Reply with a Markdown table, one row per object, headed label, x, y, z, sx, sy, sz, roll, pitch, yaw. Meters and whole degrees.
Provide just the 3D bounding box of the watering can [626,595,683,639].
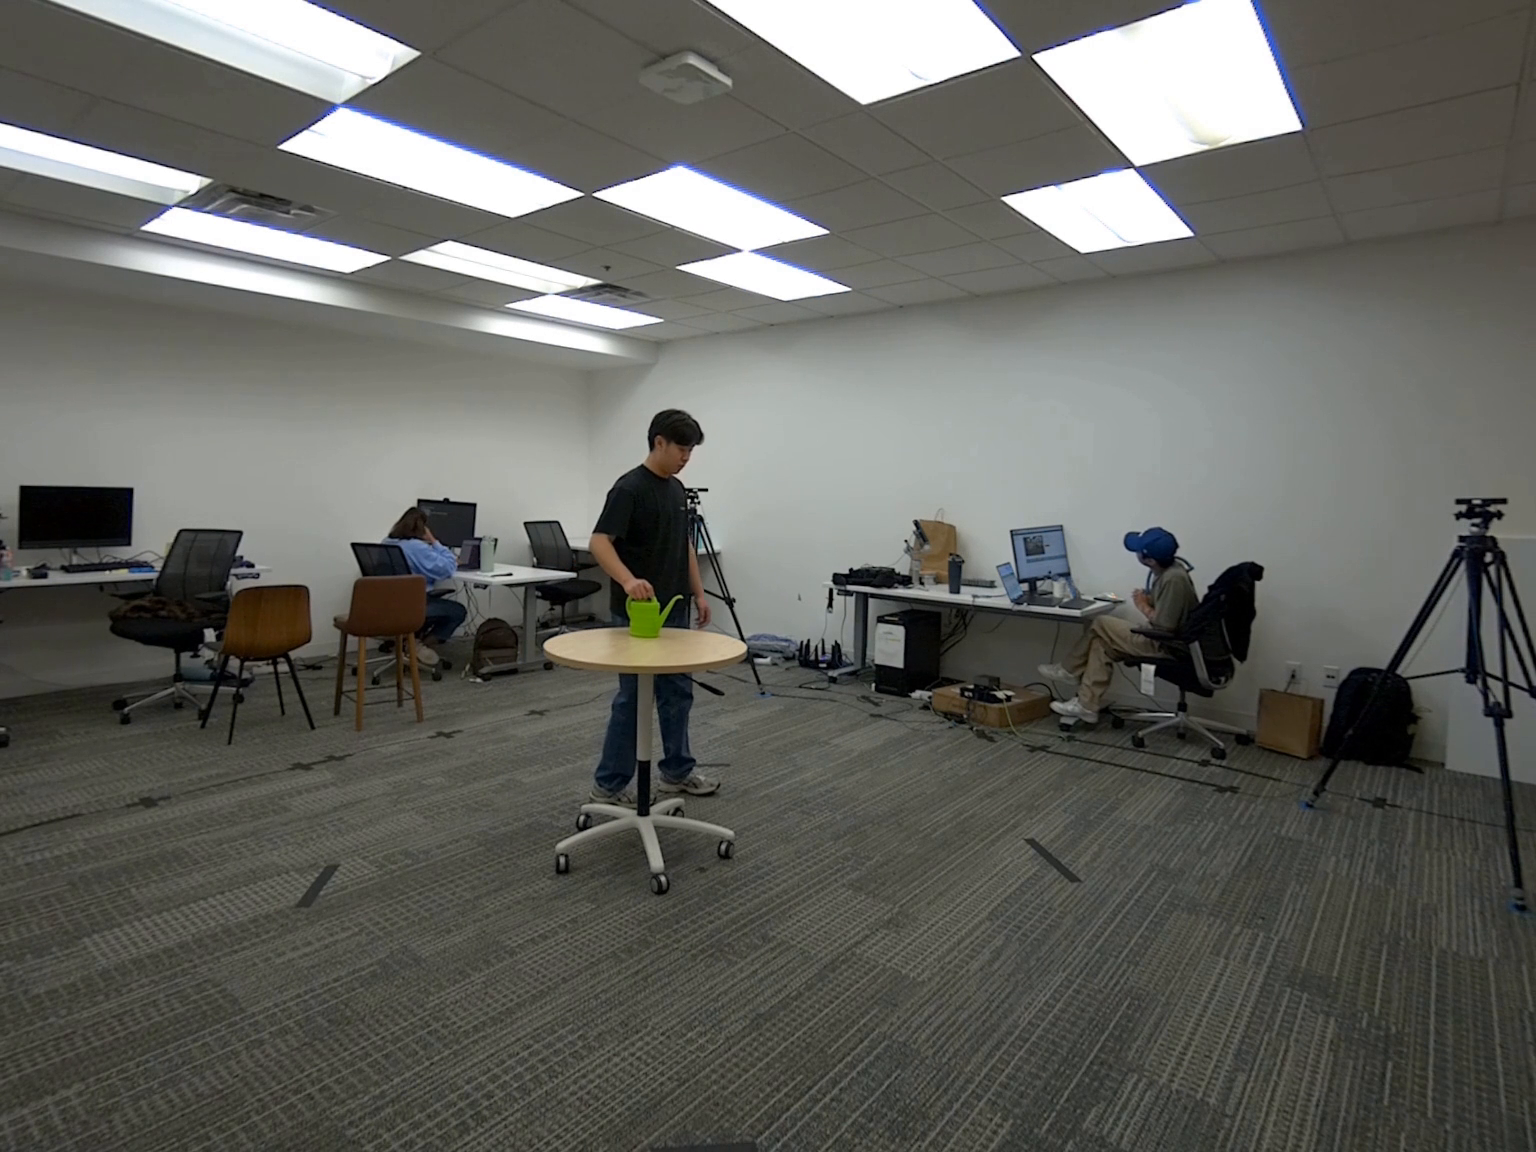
| label | x | y | z | sx | sy | sz | roll | pitch | yaw |
| --- | --- | --- | --- | --- | --- | --- | --- | --- | --- |
| watering can | -0.479 | 0.152 | 3.374 | 0.095 | 0.176 | 0.288 | -3 | 6 | -44 |
